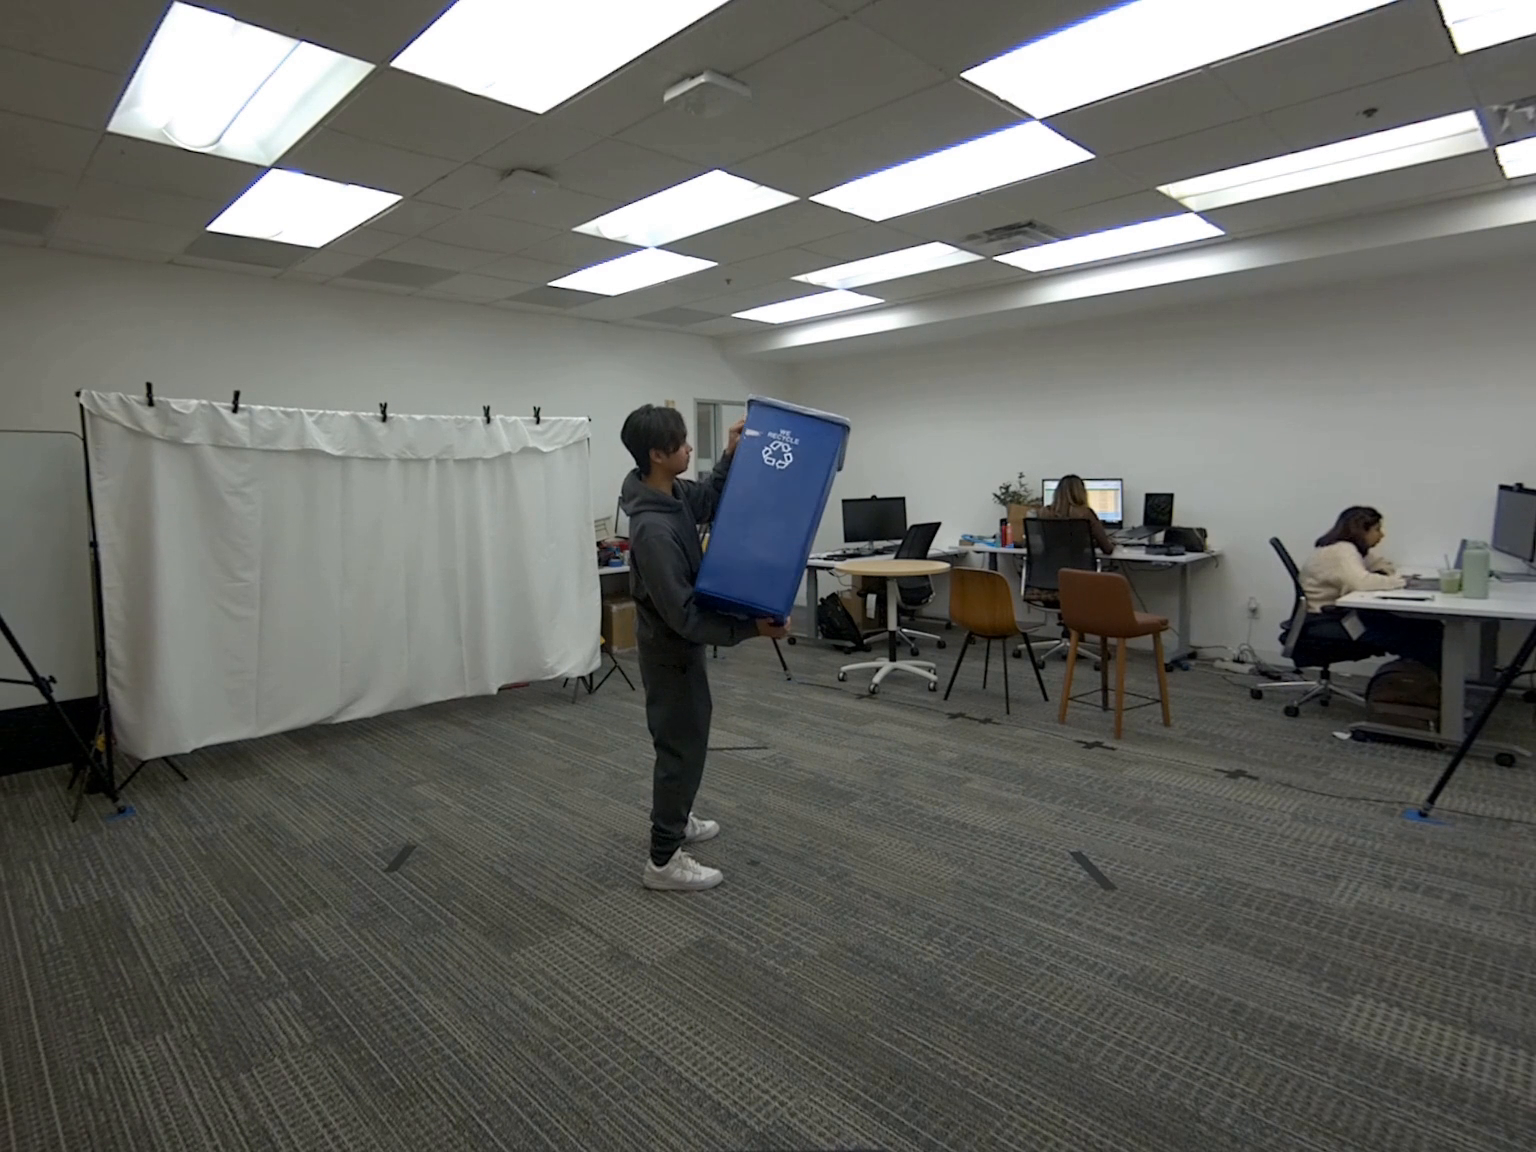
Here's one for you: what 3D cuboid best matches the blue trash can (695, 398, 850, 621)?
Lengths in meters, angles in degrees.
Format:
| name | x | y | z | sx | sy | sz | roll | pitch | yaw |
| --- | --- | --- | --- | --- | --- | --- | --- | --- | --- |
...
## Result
| name | x | y | z | sx | sy | sz | roll | pitch | yaw |
| --- | --- | --- | --- | --- | --- | --- | --- | --- | --- |
| blue trash can | 0.012 | -0.192 | 2.926 | 0.377 | 0.721 | 0.371 | 15 | -20 | 6 |
